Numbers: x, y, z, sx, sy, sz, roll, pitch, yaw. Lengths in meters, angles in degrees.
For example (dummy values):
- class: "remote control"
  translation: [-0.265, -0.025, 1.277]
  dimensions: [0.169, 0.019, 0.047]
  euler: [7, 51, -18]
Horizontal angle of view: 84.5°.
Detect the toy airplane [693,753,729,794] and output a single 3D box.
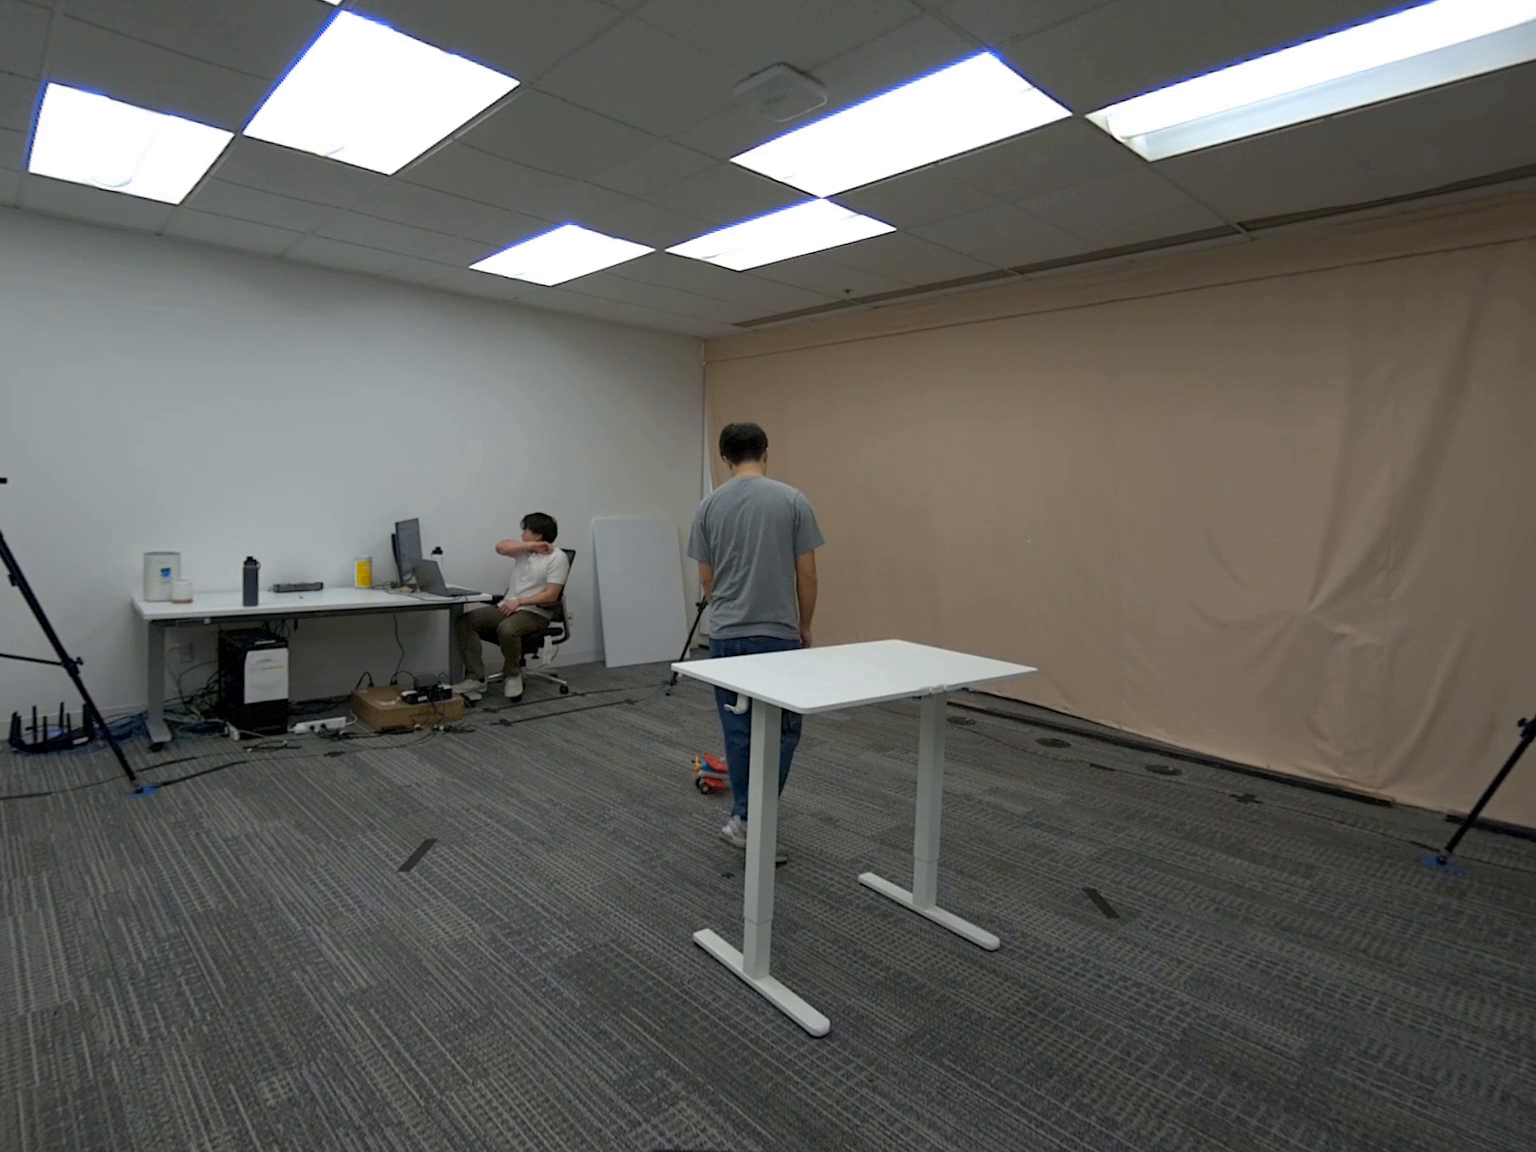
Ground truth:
- class: "toy airplane"
  translation: [-0.246, 0.944, 4.047]
  dimensions: [0.257, 0.156, 0.253]
  euler: [6, 7, 43]
